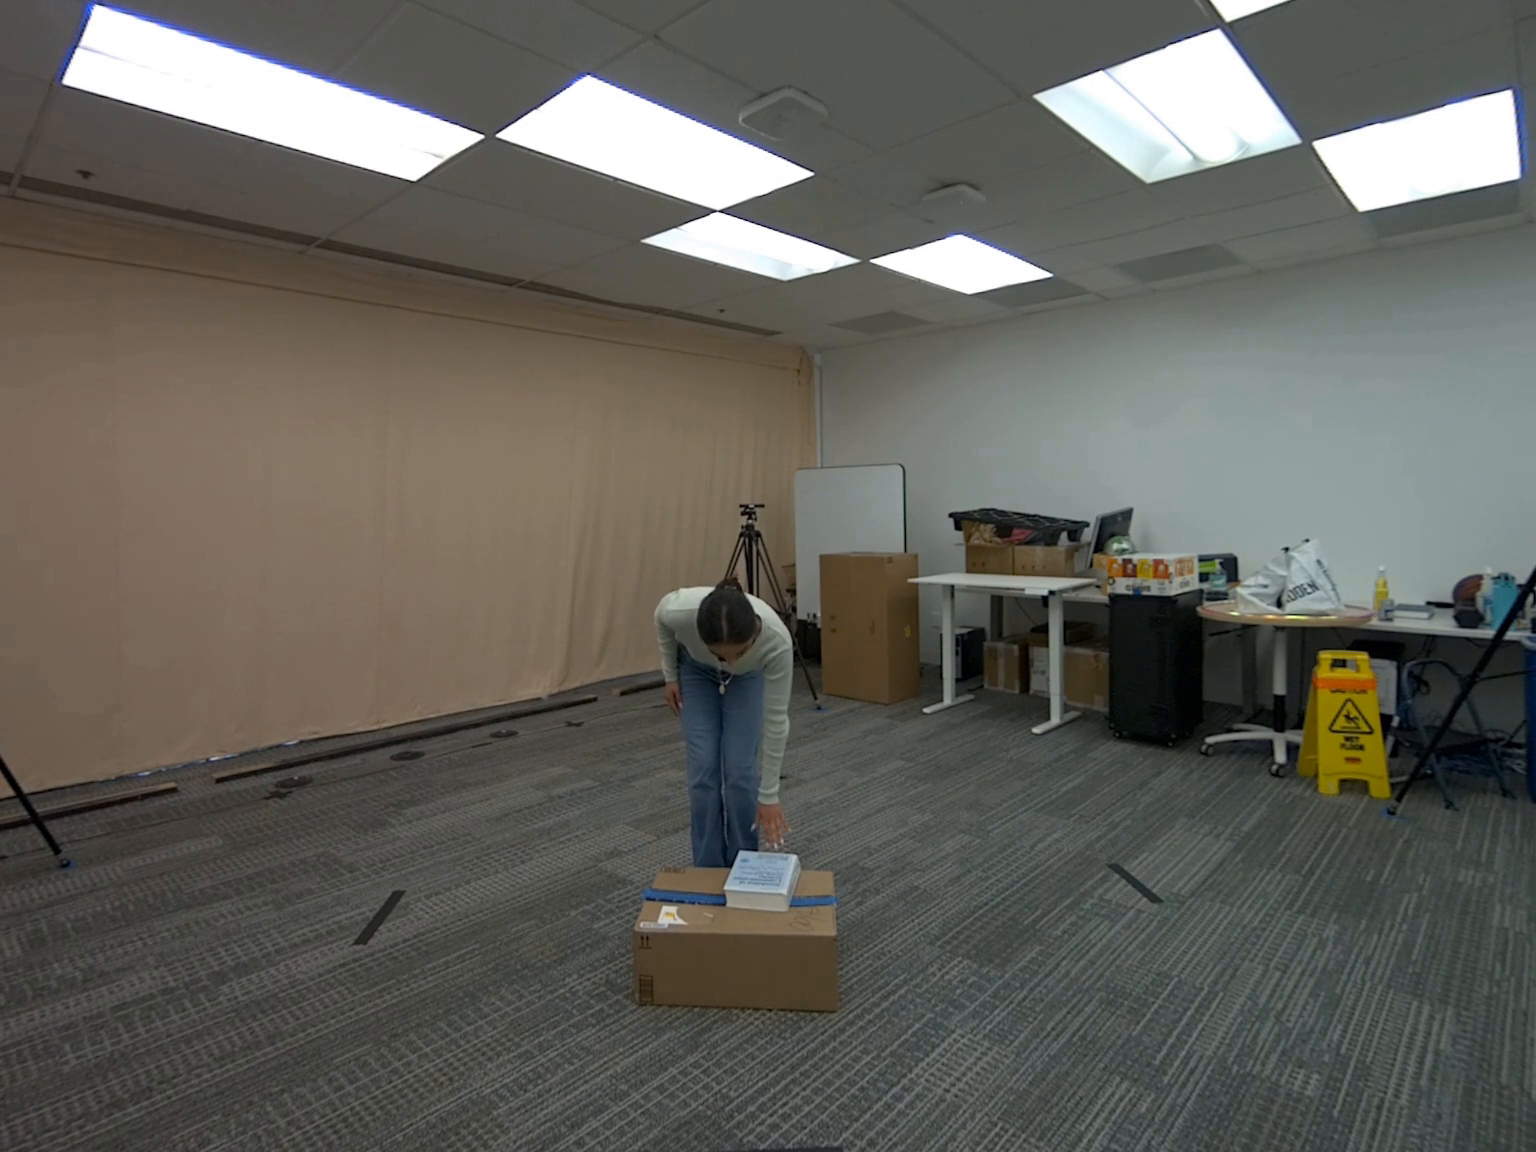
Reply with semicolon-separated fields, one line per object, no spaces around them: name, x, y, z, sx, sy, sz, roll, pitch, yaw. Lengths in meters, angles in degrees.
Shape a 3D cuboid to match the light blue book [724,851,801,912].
light blue book;-0.012;0.927;2.590;0.194;0.059;0.258;-1;6;11
